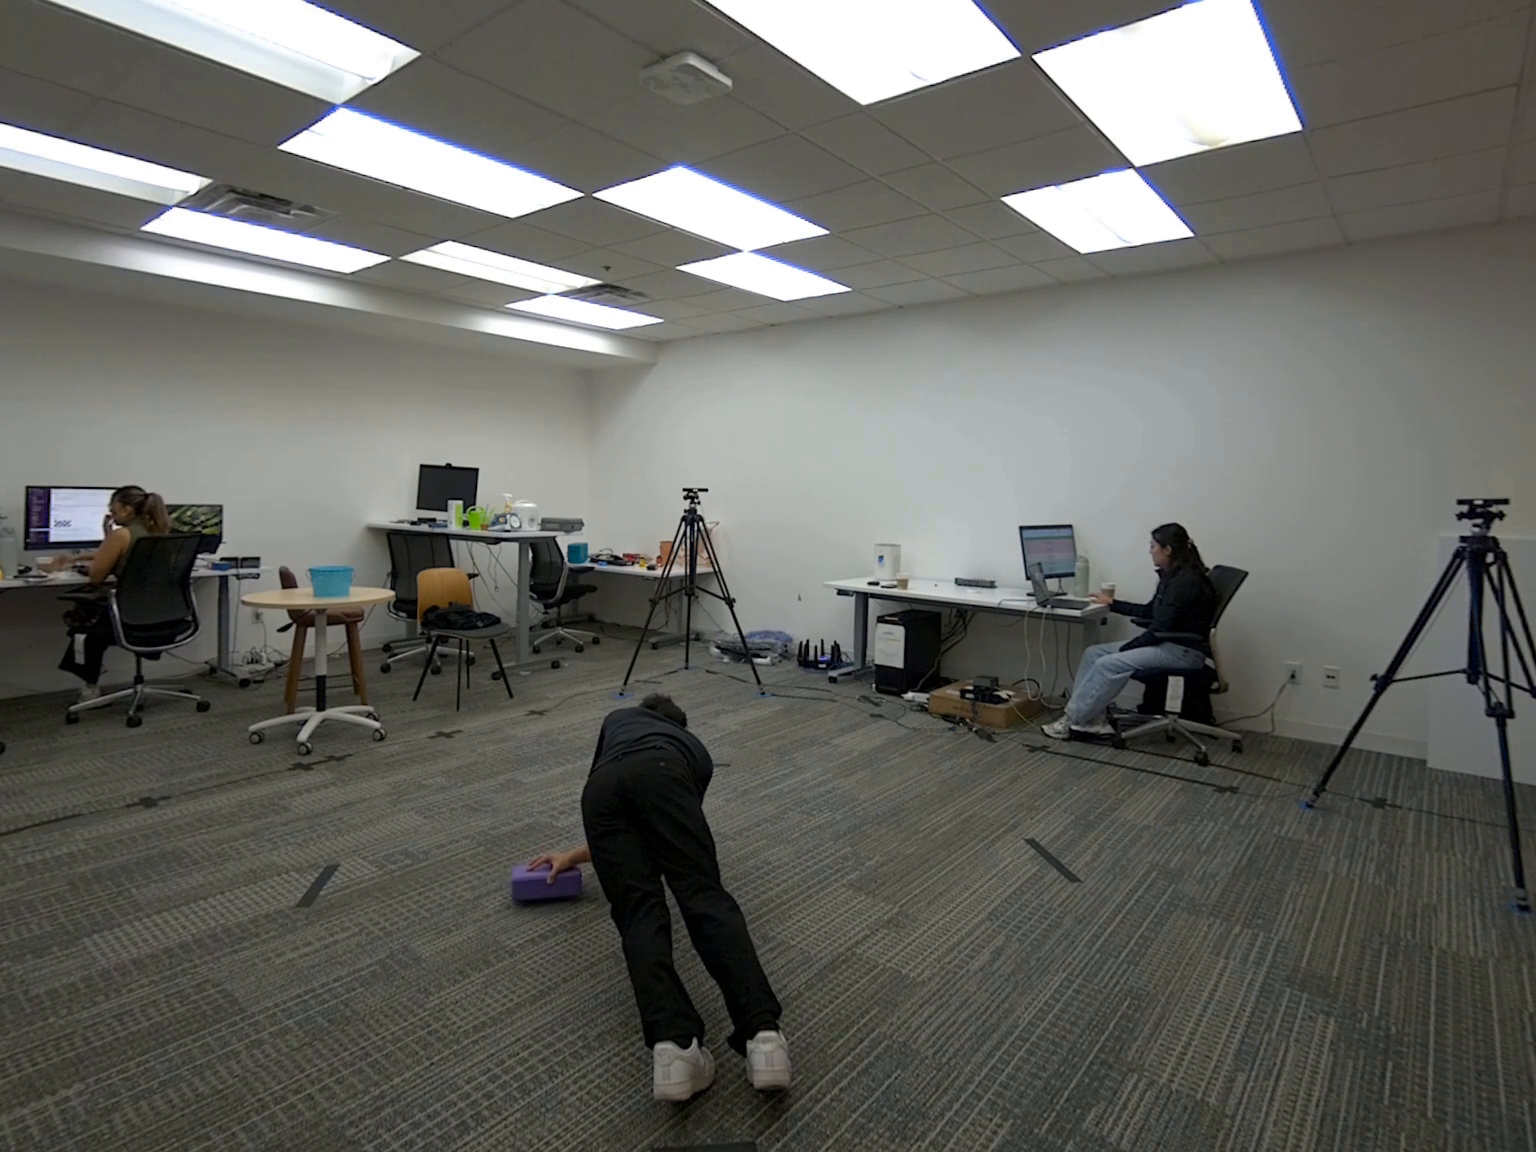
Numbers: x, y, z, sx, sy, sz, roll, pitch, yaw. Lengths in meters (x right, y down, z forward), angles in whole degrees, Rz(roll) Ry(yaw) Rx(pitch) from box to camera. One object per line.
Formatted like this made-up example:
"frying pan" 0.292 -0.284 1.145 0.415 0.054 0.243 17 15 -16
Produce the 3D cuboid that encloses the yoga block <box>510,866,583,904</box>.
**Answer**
"yoga block" -0.762 1.029 2.882 0.226 0.077 0.150 0 -3 -12
